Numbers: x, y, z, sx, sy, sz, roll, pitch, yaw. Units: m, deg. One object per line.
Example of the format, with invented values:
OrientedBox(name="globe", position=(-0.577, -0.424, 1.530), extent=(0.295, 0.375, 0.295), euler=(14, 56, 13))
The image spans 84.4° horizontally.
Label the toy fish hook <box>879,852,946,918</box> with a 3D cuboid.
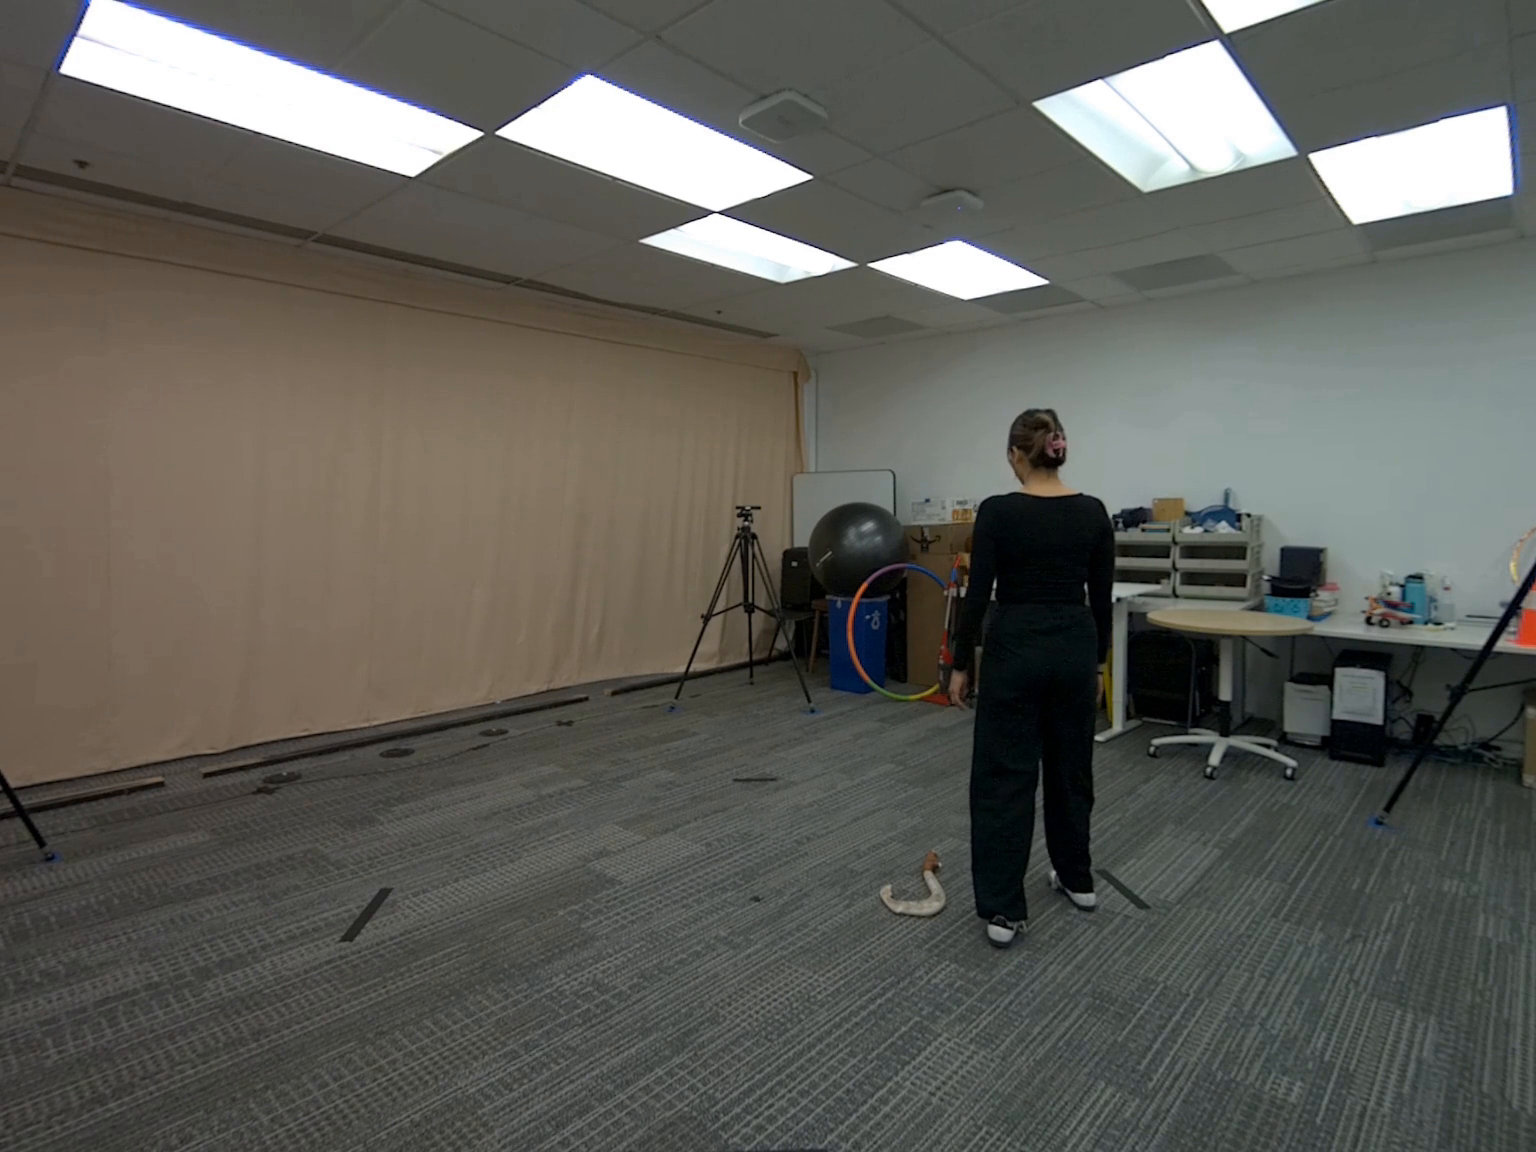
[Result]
OrientedBox(name="toy fish hook", position=(0.541, 1.113, 3.082), extent=(0.228, 0.048, 0.500), euler=(2, 5, 13))
